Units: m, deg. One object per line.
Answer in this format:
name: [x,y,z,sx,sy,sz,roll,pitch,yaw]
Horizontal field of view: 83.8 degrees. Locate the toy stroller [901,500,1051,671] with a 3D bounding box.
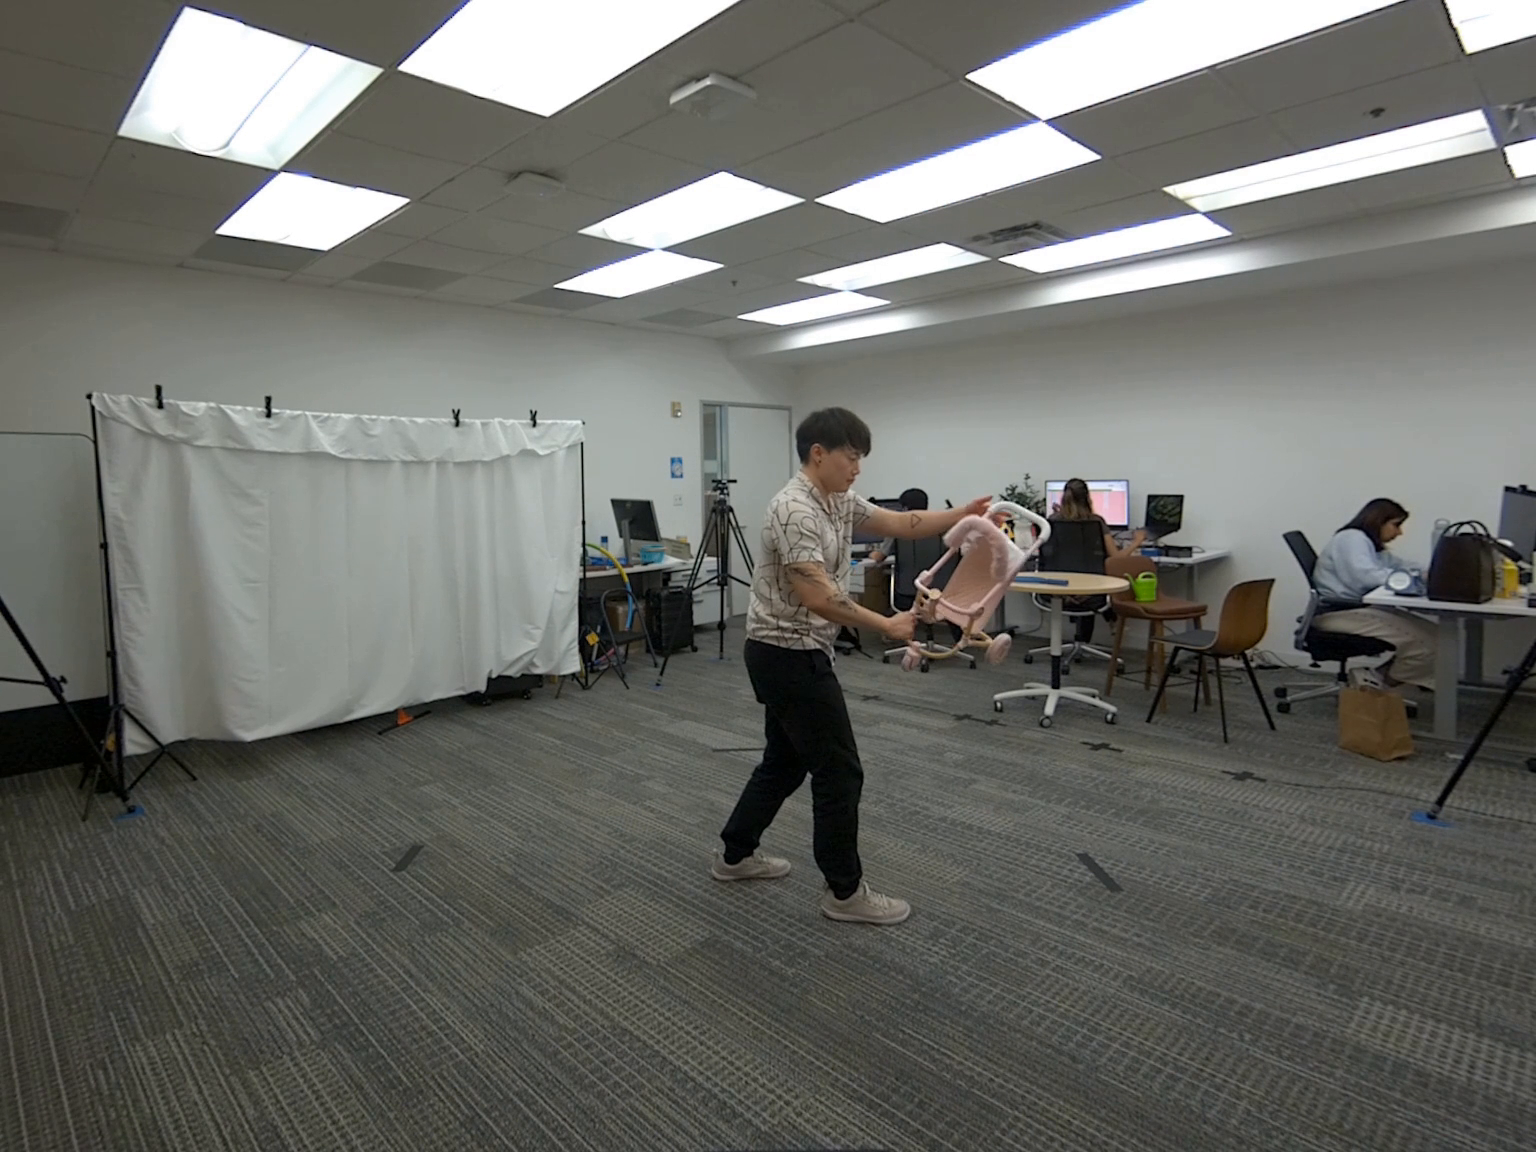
toy stroller: [0.588,0.050,2.552,0.332,0.529,0.293,-2,30,-41]
